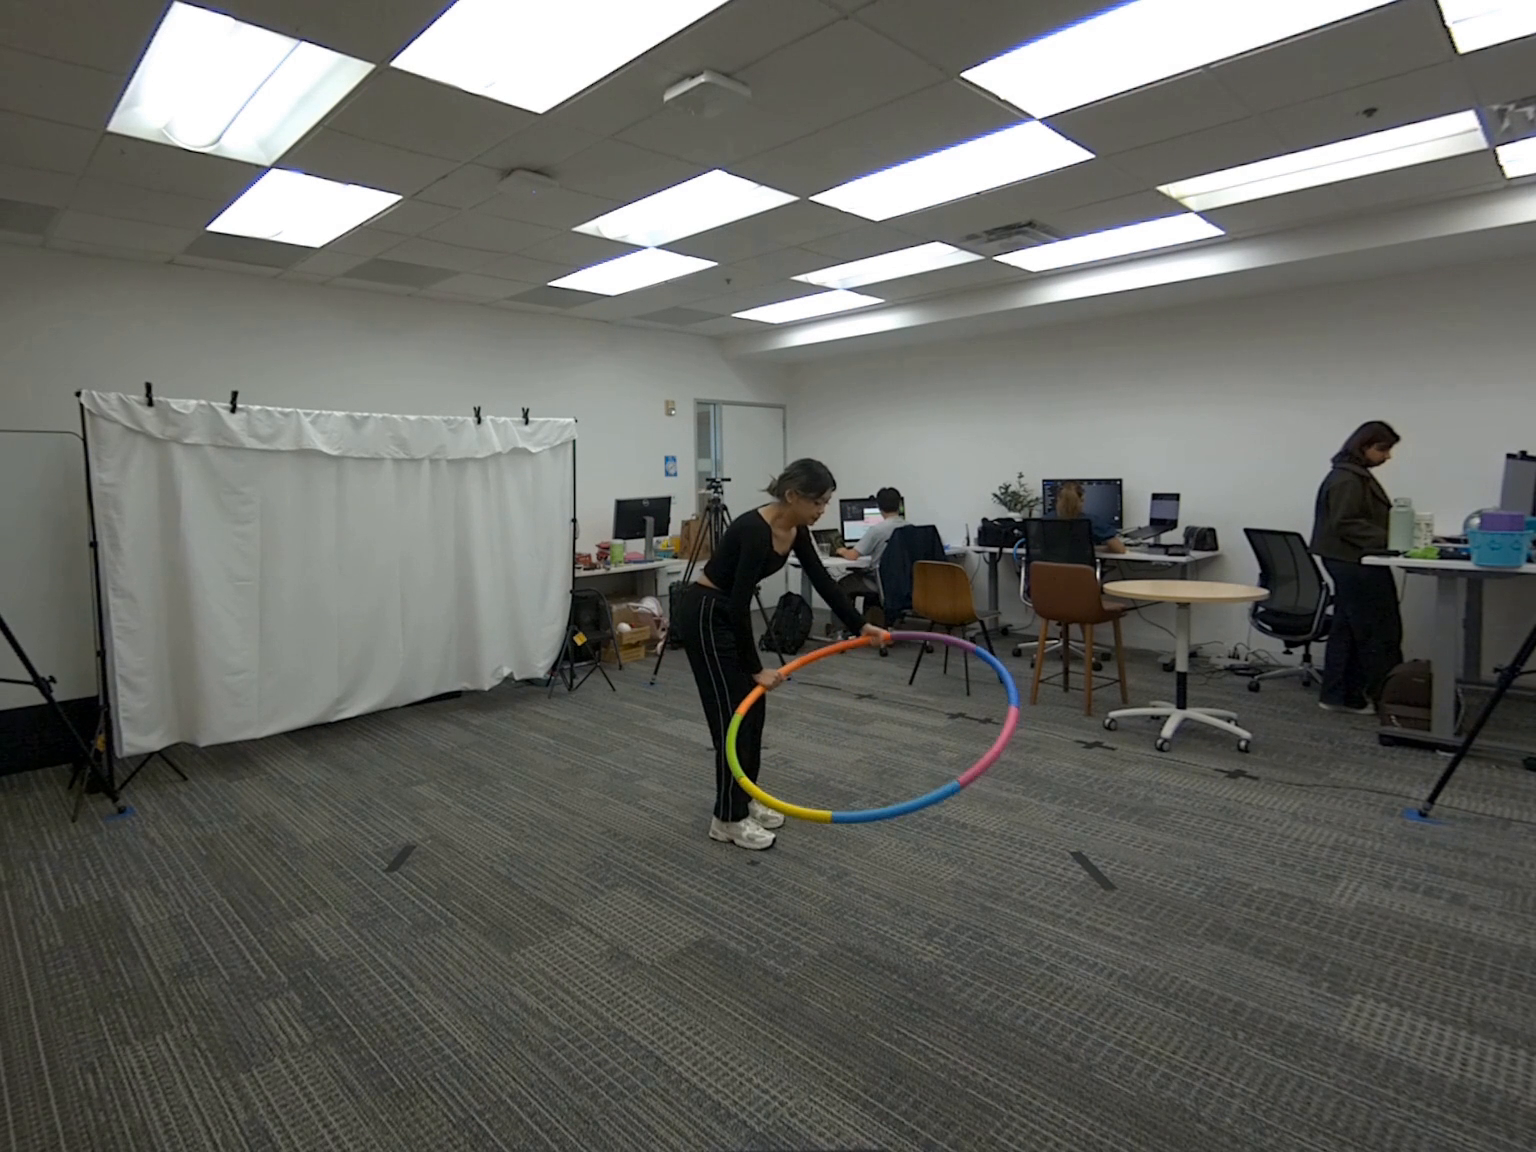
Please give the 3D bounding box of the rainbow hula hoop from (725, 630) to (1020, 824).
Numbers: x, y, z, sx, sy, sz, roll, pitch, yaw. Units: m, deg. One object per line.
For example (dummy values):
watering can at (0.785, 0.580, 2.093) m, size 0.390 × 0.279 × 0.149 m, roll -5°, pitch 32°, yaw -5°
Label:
rainbow hula hoop at (0.323, 0.459, 2.846) m, size 0.982 × 0.035 × 0.998 m, roll -17°, pitch 23°, yaw 5°
